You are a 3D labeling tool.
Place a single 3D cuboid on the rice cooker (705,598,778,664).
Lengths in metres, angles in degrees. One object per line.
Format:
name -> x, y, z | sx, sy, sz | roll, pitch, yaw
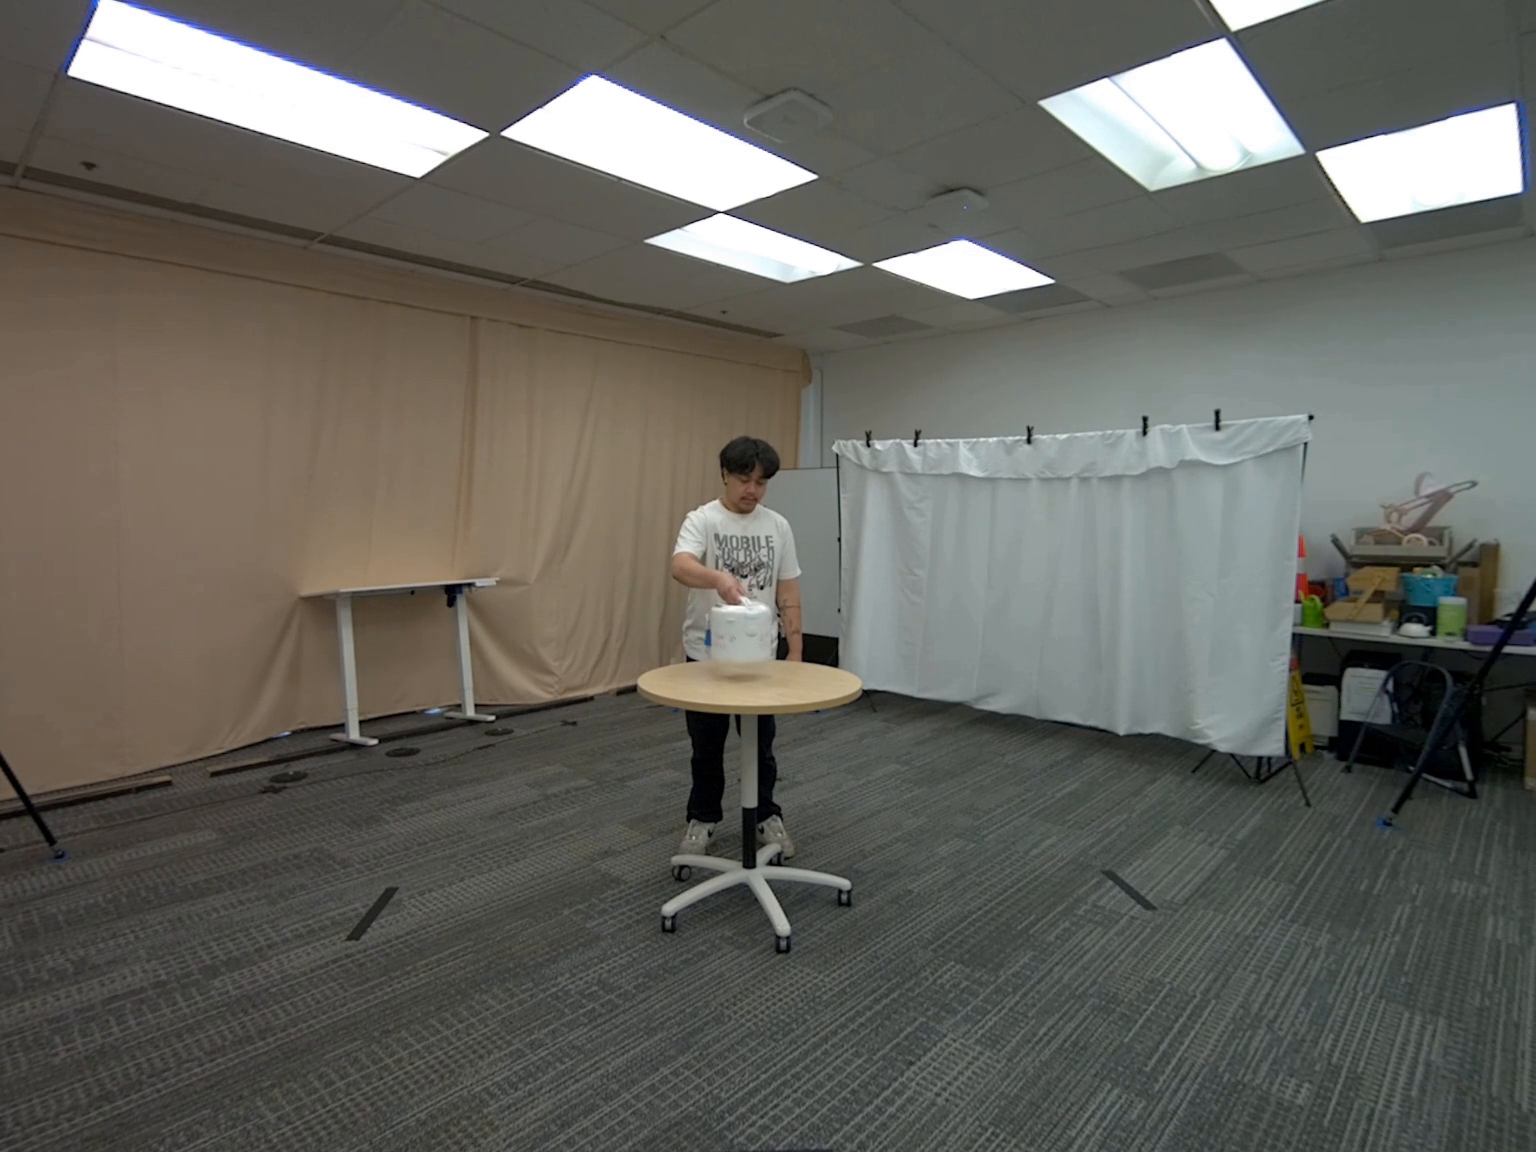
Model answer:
rice cooker -> -0.090, 0.180, 2.895 | 0.213, 0.232, 0.226 | -2, 6, -20
